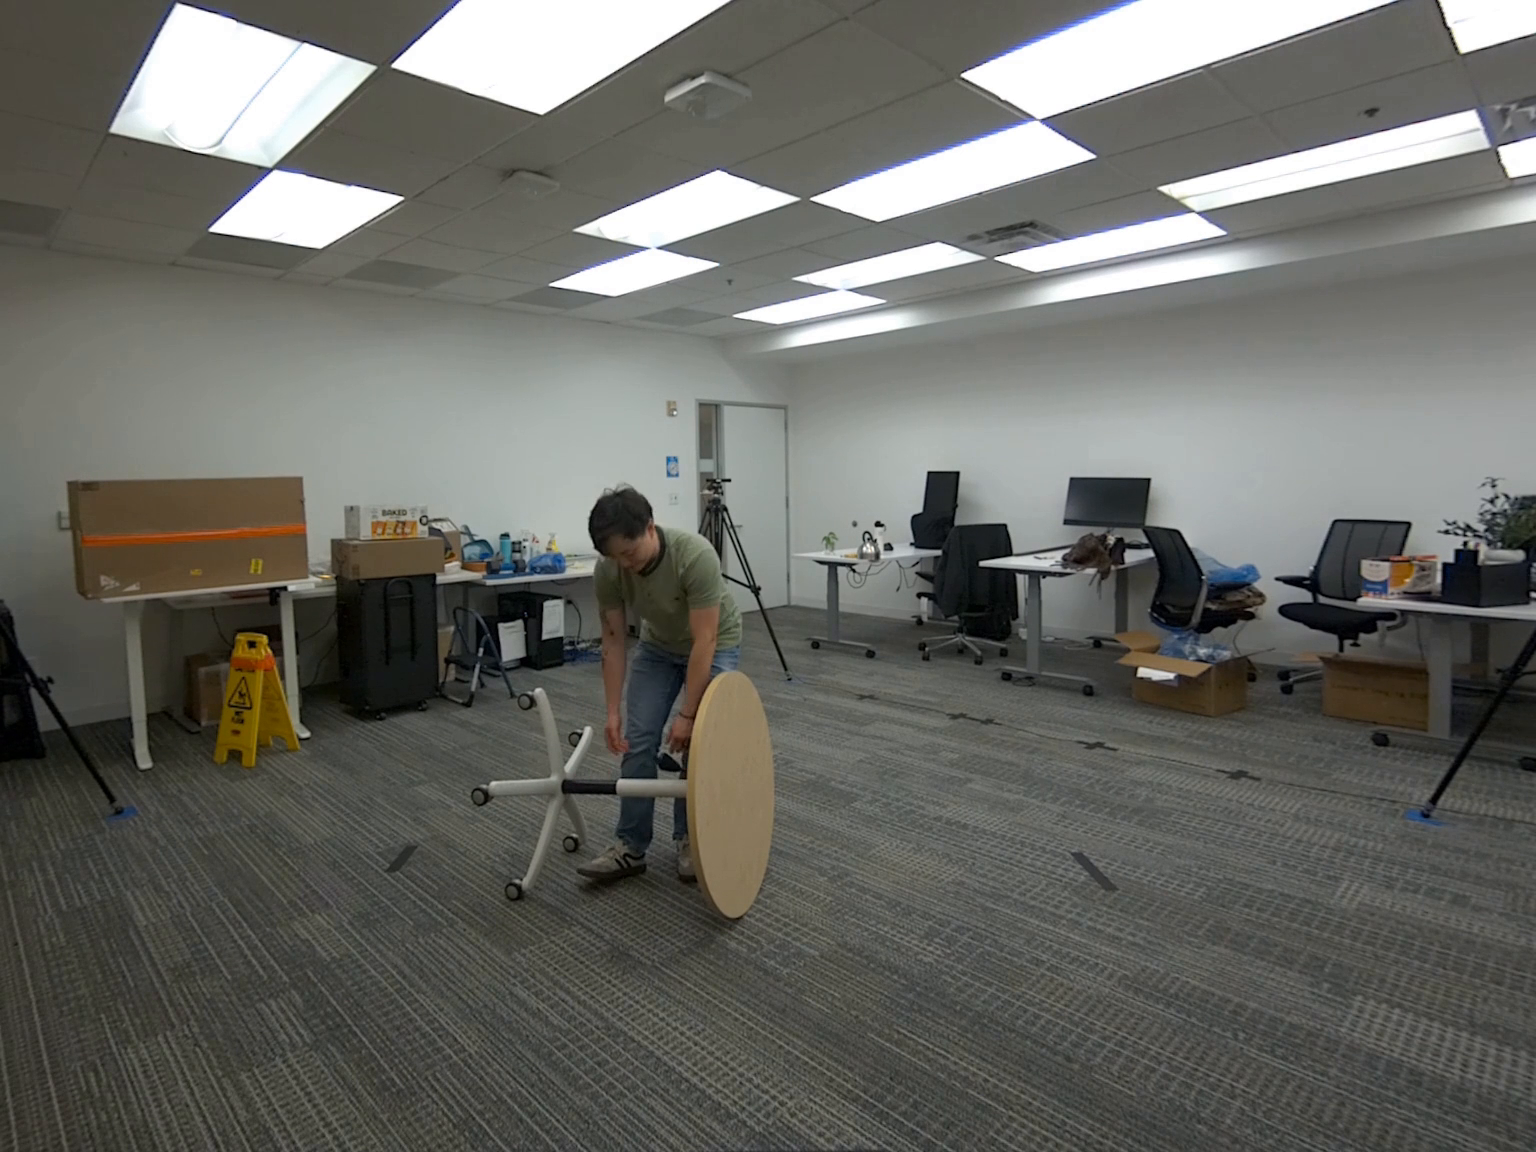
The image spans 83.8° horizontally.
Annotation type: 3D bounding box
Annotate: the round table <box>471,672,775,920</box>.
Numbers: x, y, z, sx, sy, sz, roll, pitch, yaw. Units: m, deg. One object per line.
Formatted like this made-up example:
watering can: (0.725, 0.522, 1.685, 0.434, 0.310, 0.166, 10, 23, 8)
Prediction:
round table: (-0.473, 0.729, 2.922, 0.807, 0.762, 0.754, -5, 3, 18)
